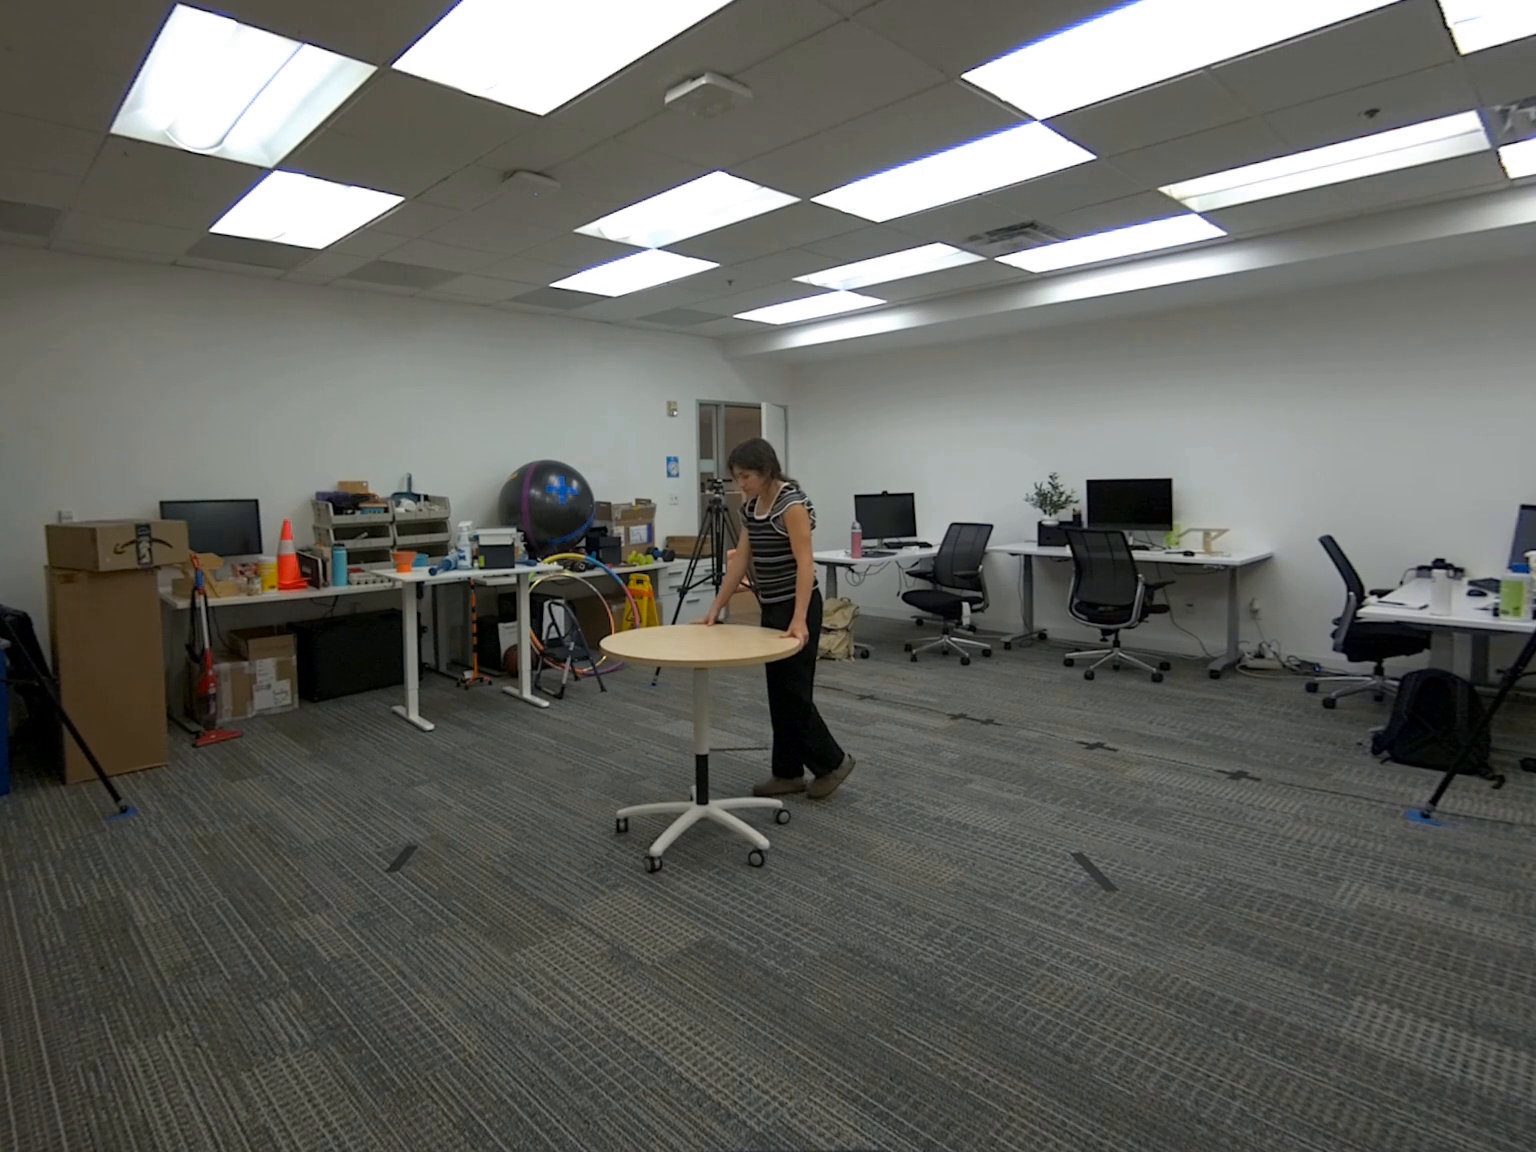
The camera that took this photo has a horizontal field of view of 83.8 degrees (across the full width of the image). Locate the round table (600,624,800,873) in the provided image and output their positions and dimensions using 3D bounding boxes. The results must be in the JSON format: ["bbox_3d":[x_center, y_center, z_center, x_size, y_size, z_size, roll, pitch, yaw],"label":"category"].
[{"bbox_3d":[-0.256,0.638,3.303,0.763,0.791,0.768,-1,4,-2],"label":"round table"}]
